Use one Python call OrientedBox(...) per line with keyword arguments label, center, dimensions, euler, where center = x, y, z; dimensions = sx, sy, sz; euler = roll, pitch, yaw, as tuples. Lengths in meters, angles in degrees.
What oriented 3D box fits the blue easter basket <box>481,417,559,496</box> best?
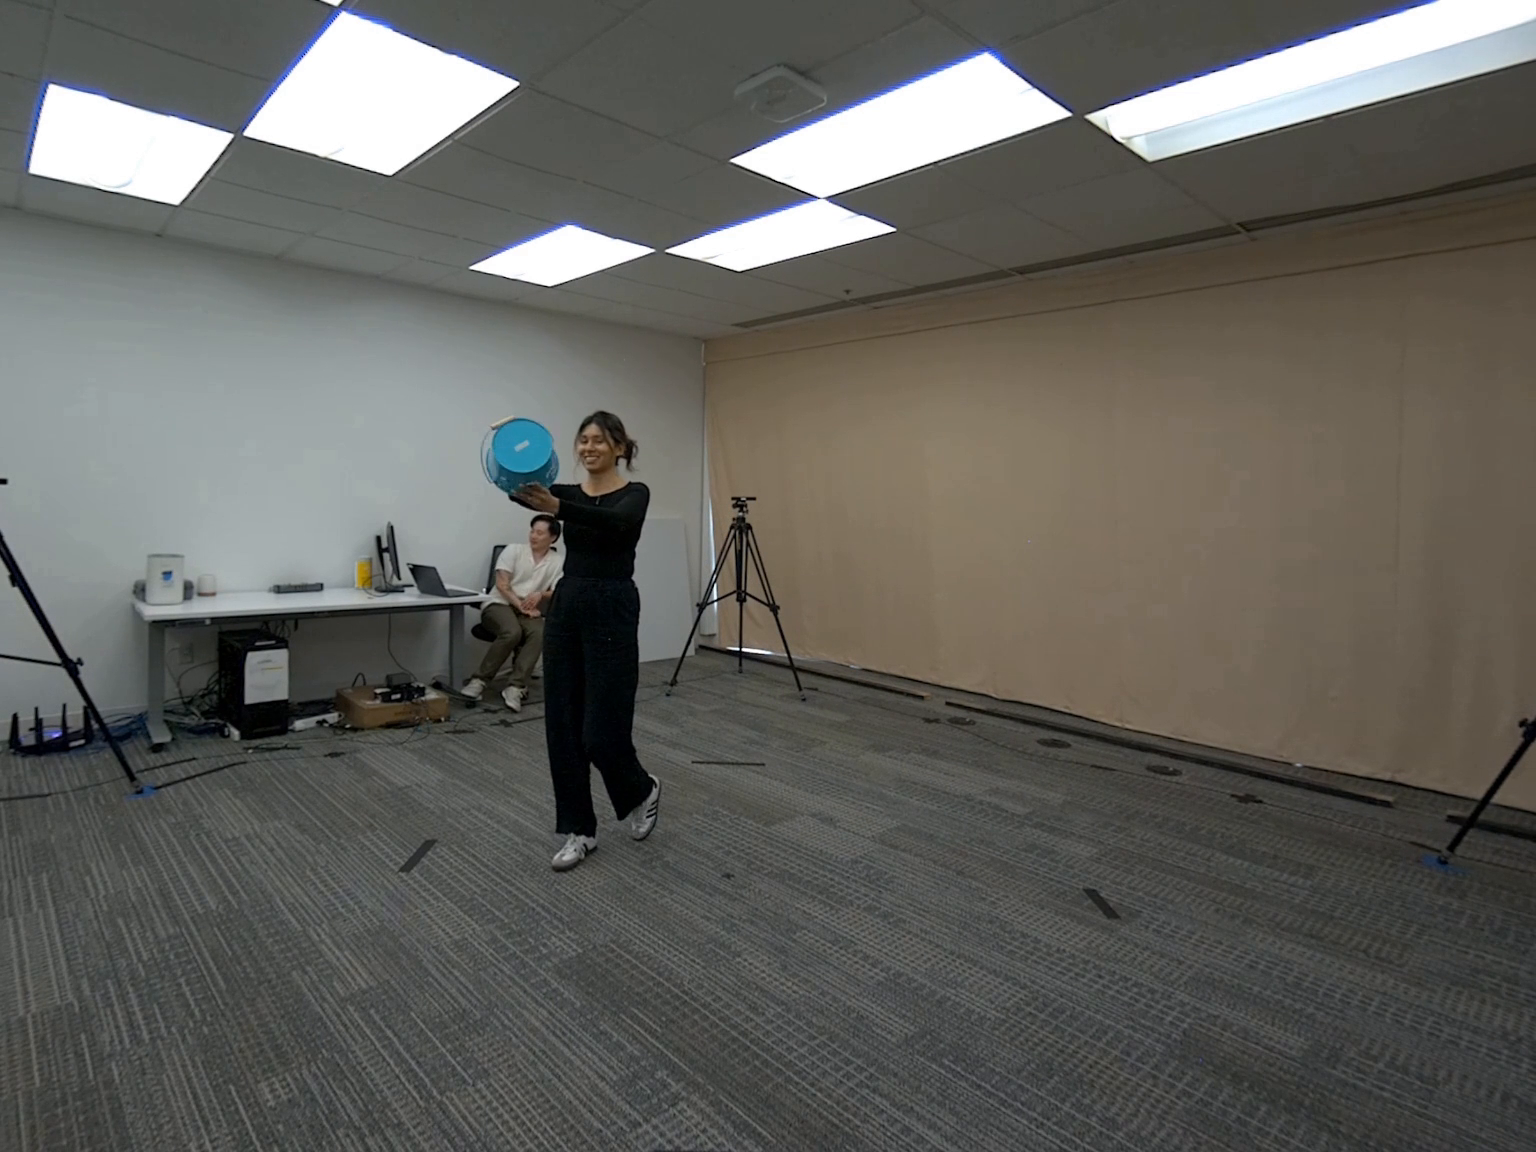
OrientedBox(label="blue easter basket", center=(-0.799, -0.384, 2.664), dimensions=(0.241, 0.246, 0.155), euler=(0, -15, -10))
